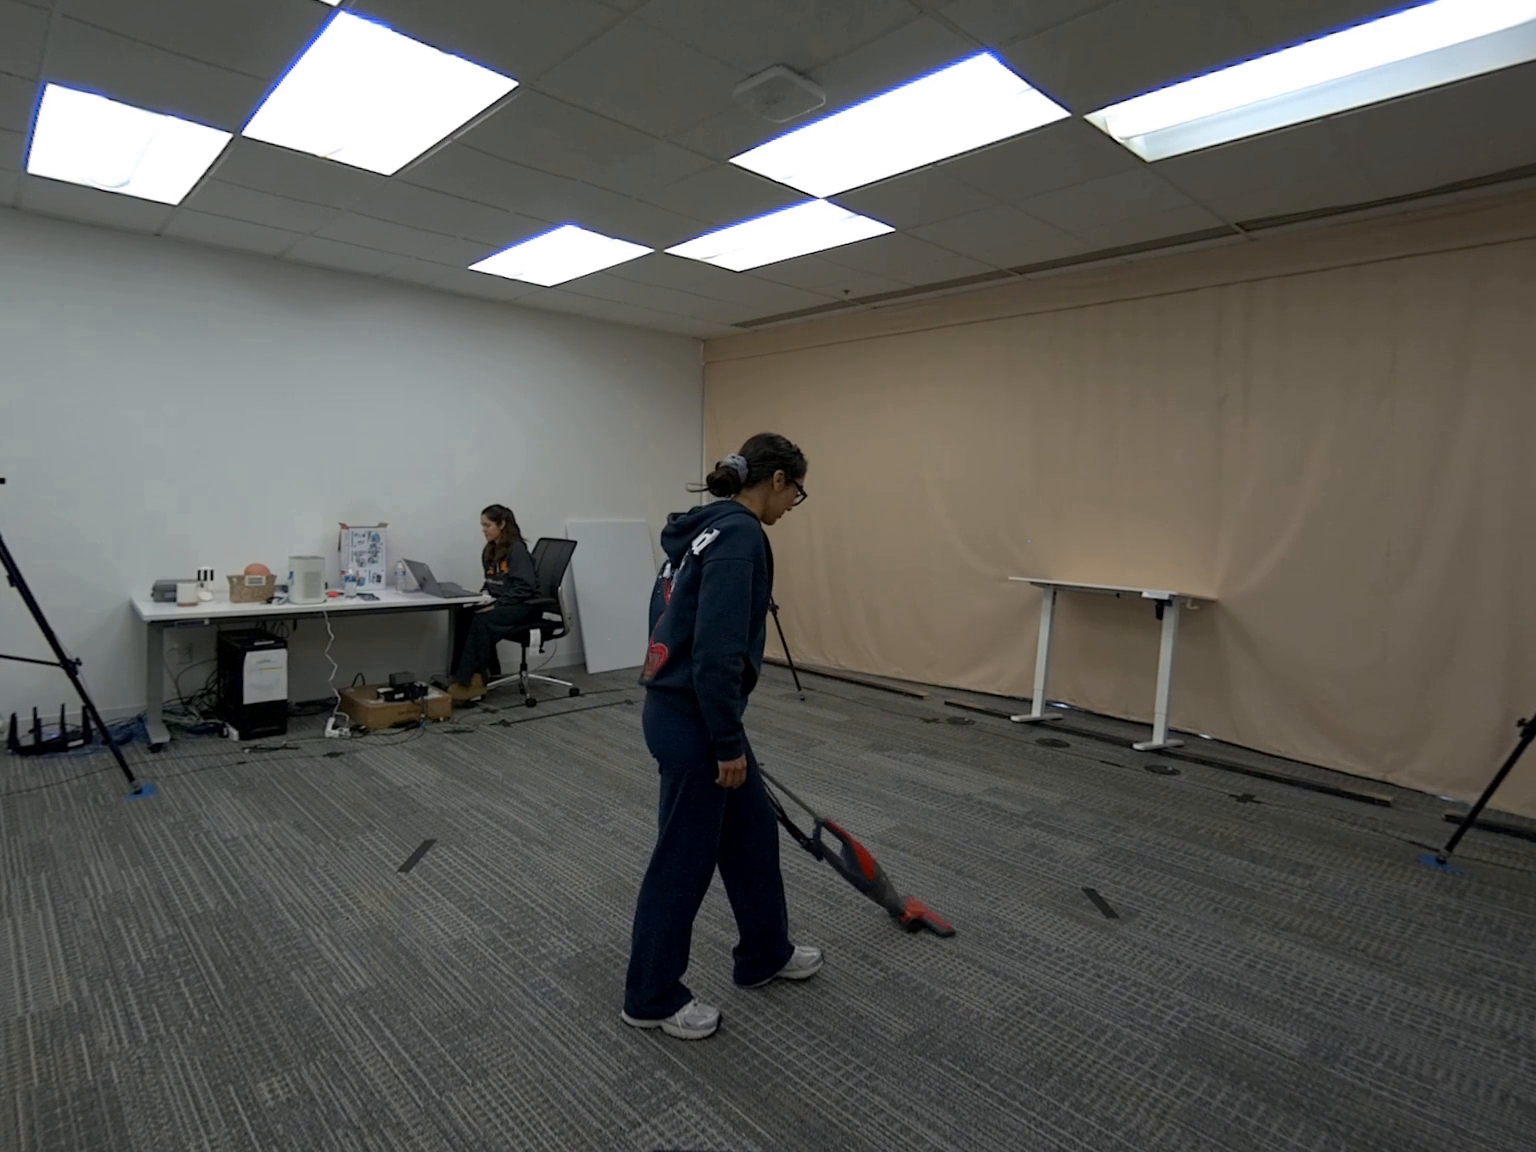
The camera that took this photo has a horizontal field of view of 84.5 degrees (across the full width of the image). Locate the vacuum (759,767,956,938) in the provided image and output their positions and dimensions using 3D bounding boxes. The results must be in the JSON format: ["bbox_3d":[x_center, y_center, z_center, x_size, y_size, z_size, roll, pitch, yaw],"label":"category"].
[{"bbox_3d":[0.158,0.810,2.639,1.028,0.144,0.257,44,-20,-20],"label":"vacuum"}]
